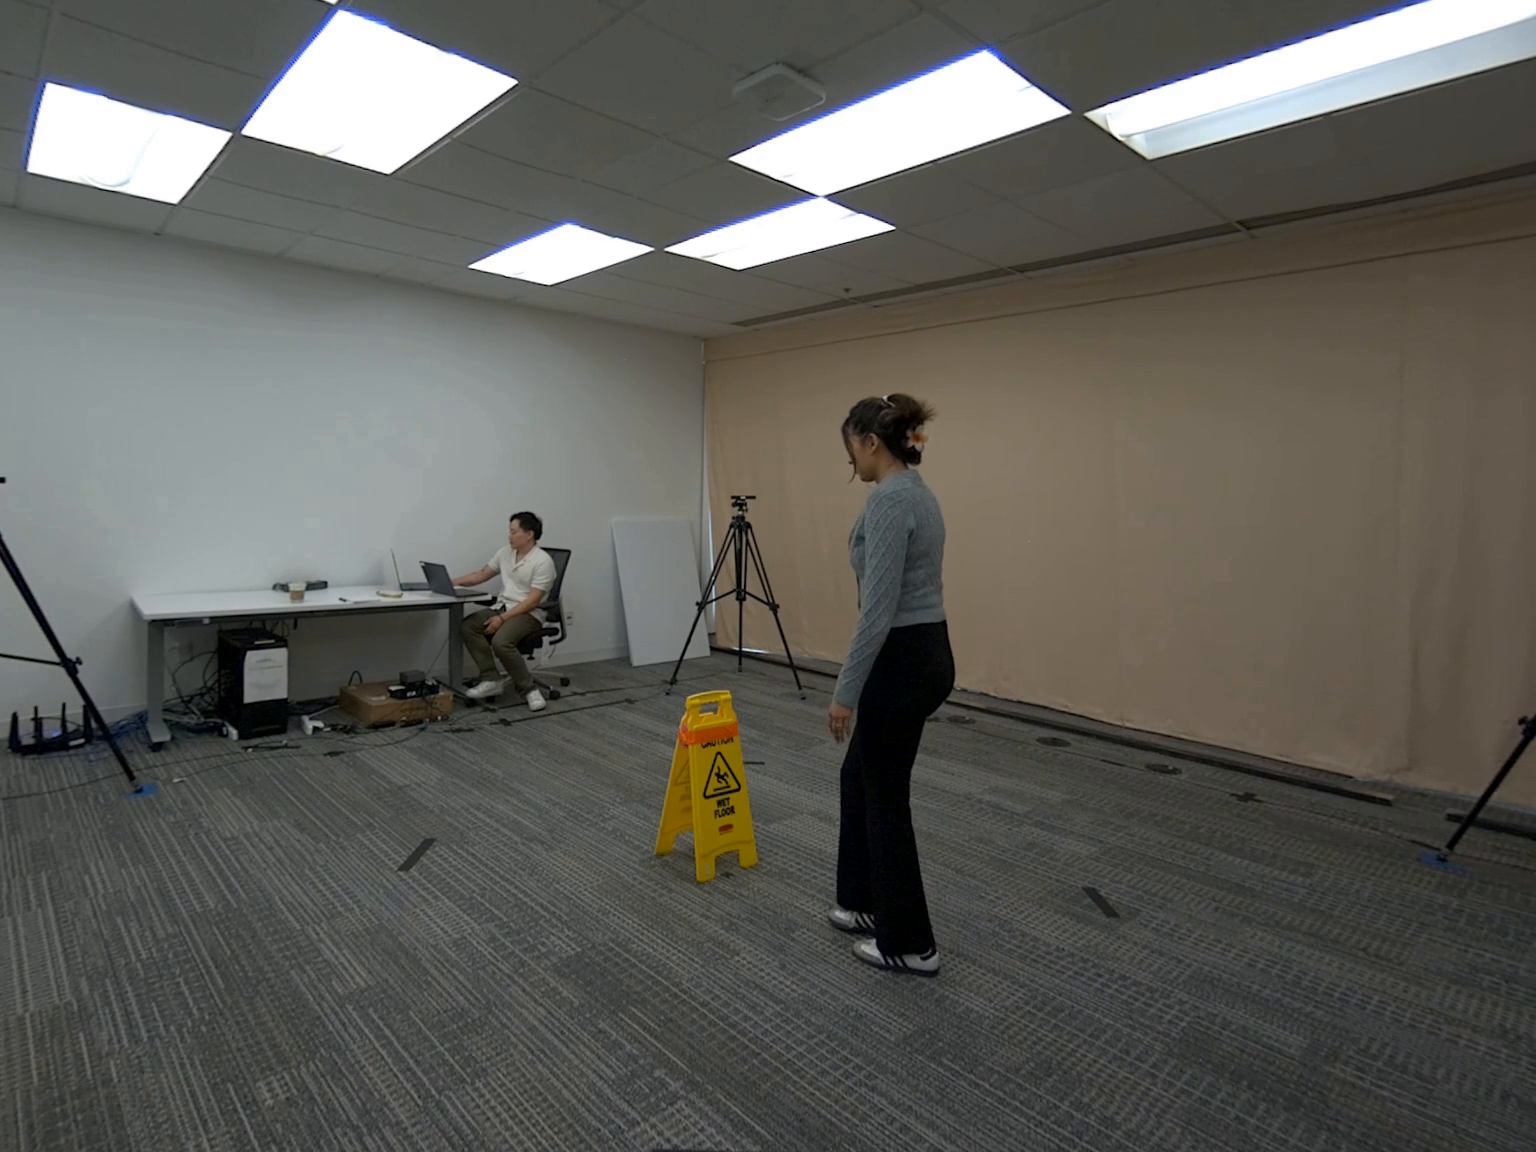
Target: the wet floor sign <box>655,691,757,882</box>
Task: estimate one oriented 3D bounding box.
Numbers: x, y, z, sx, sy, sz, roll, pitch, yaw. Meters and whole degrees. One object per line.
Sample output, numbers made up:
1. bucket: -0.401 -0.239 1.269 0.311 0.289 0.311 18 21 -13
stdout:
1. wet floor sign: -0.240 0.767 3.211 0.276 0.645 0.297 -1 4 -40
